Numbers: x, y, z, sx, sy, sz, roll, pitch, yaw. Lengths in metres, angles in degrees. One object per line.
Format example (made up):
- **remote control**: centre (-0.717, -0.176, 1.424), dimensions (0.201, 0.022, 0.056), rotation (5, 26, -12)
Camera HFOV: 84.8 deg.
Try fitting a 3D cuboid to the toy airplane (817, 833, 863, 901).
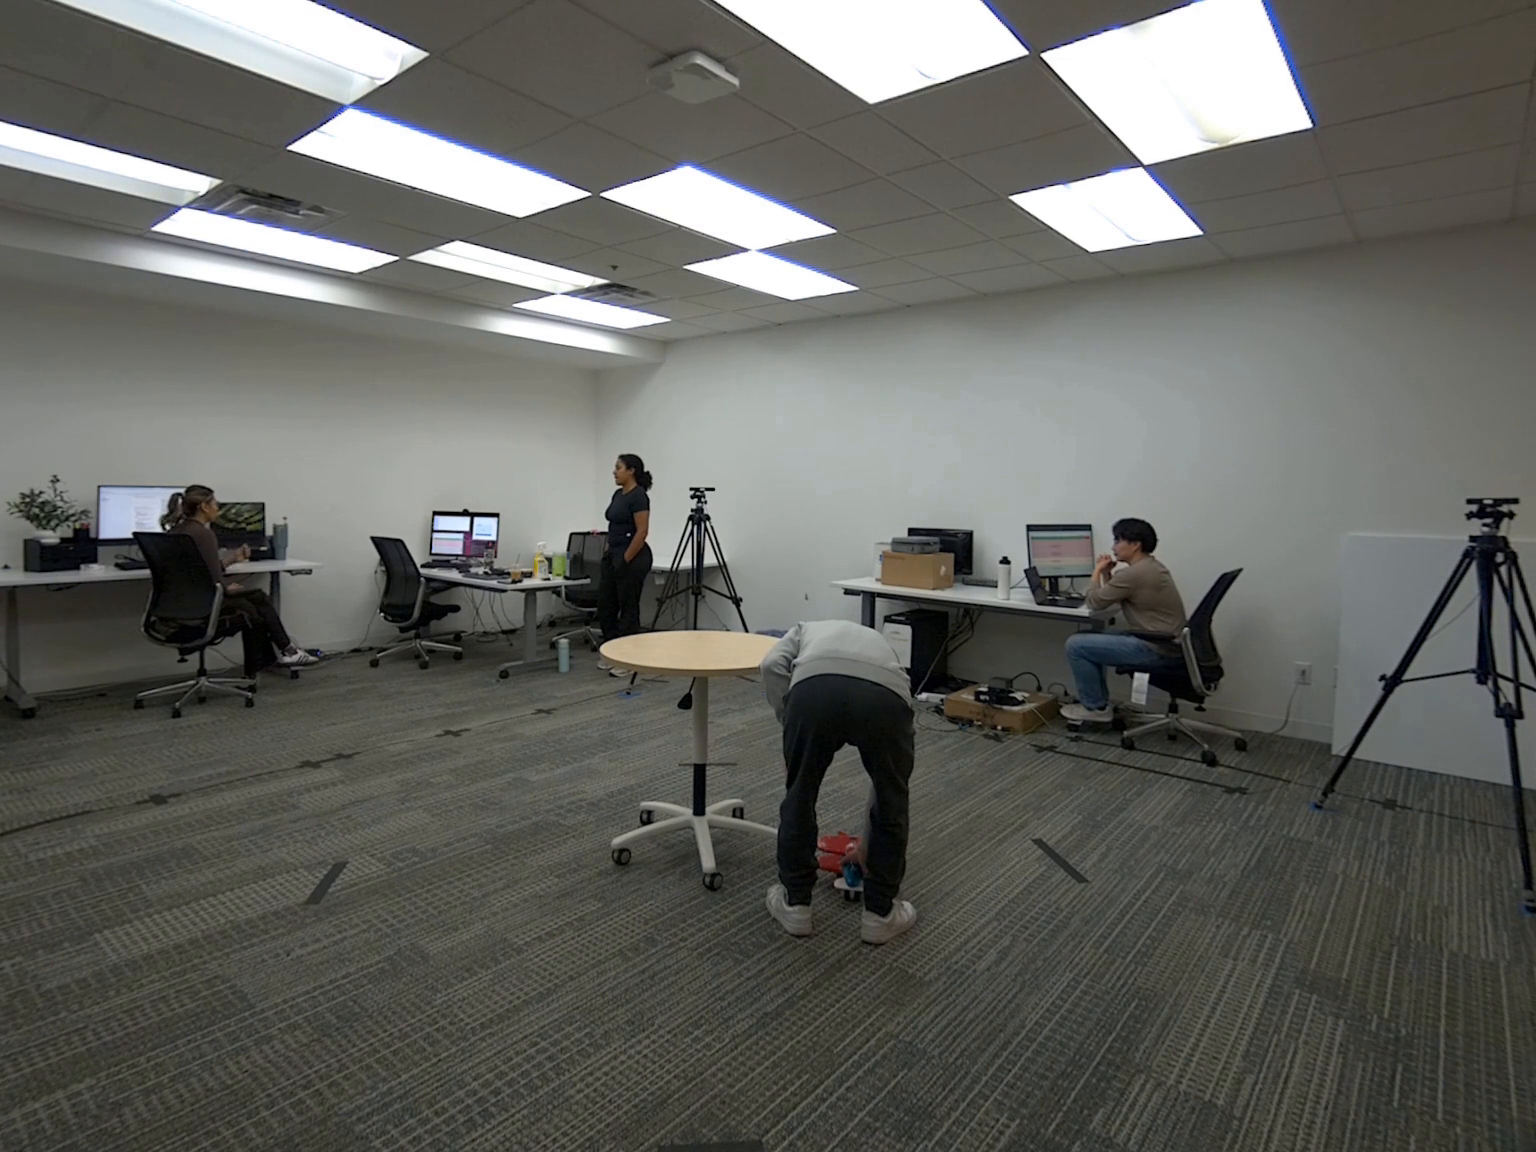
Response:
- **toy airplane**: centre (0.306, 1.017, 2.984), dimensions (0.246, 0.156, 0.265), rotation (0, 5, -21)
